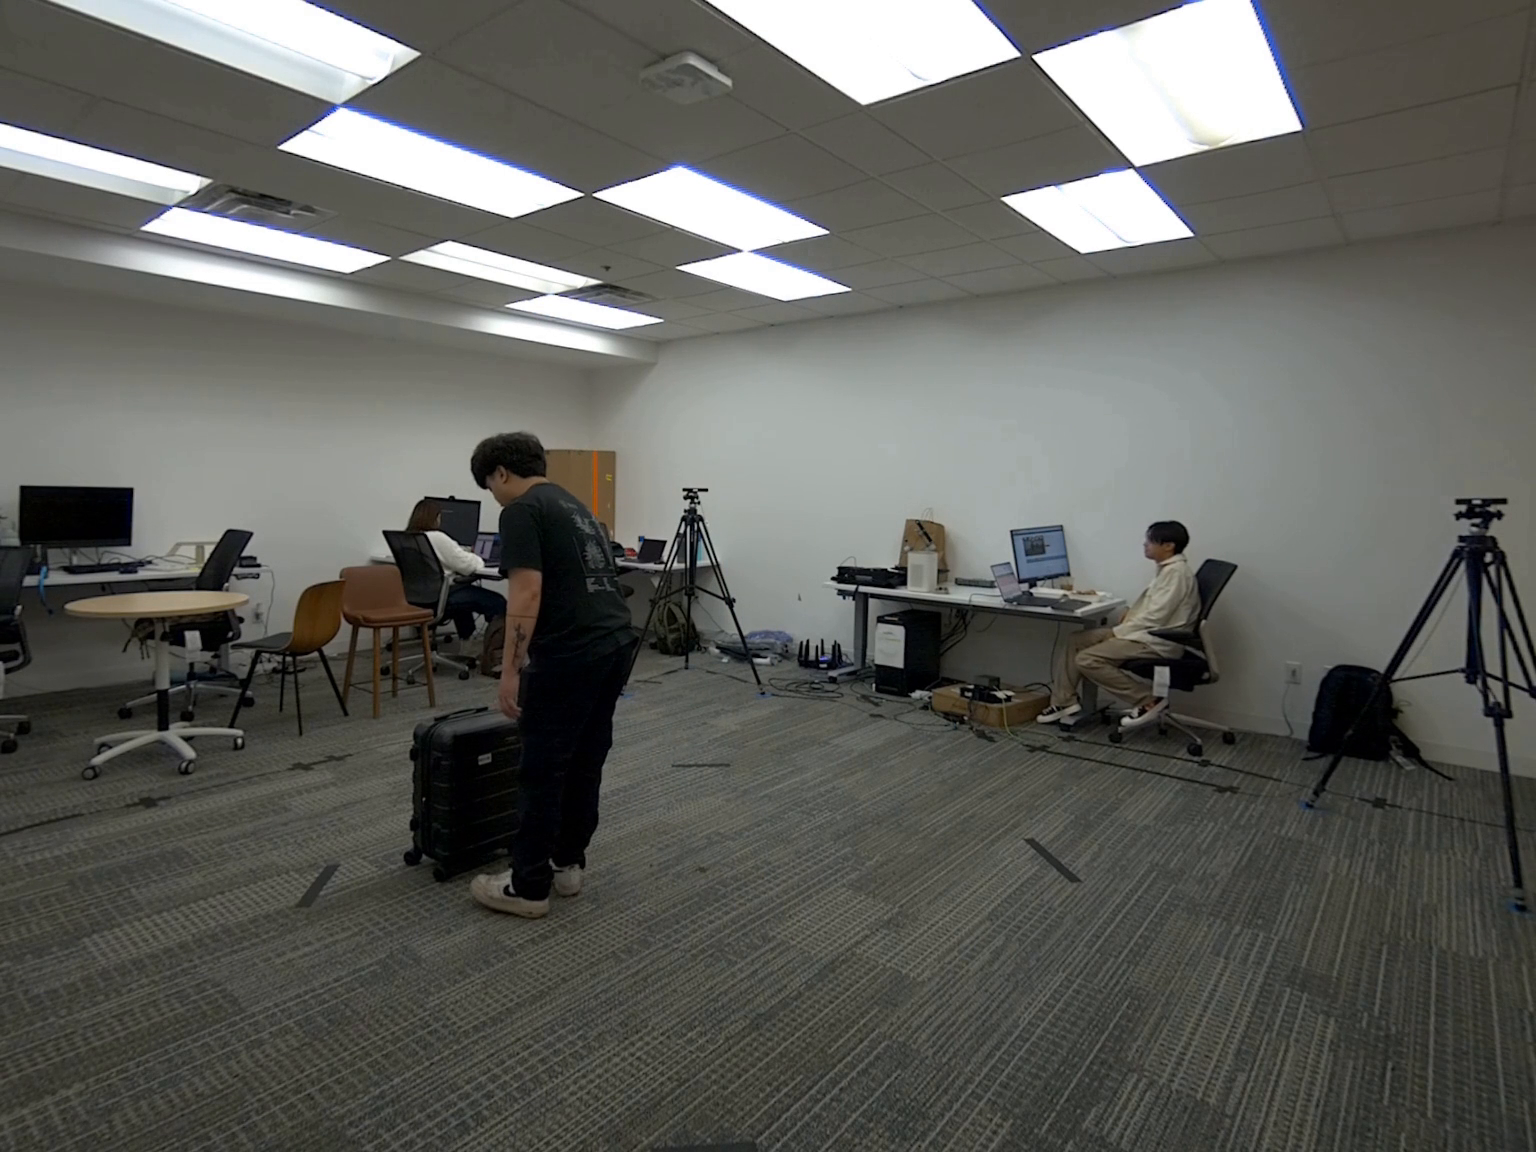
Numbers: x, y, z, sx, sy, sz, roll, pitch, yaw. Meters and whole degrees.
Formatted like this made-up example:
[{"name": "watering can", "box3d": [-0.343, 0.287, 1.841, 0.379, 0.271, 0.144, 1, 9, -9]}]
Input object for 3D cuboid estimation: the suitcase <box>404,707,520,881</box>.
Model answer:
[{"name": "suitcase", "box3d": [-1.125, 0.777, 3.145, 0.257, 0.547, 0.364, 6, 5, 40]}]
